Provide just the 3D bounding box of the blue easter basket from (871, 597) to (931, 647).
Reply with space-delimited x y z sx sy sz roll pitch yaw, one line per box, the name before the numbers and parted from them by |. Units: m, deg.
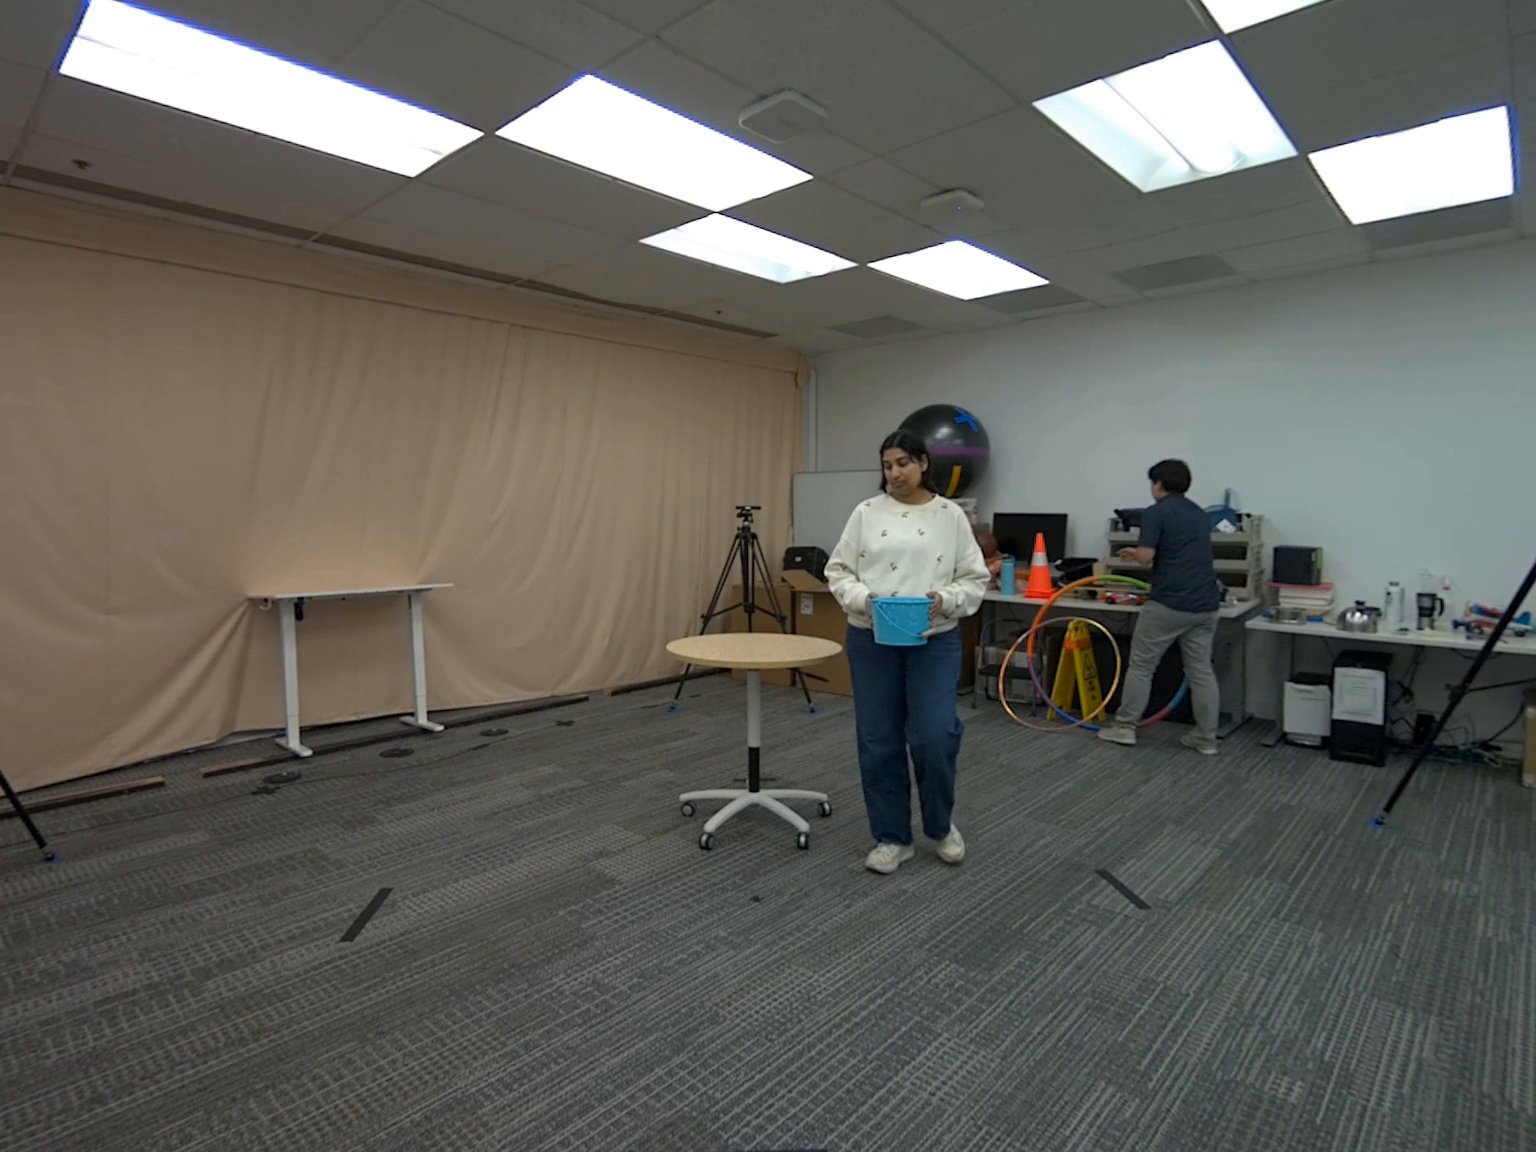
blue easter basket | 0.479 0.163 2.991 0.243 0.156 0.244 -1 2 -2
